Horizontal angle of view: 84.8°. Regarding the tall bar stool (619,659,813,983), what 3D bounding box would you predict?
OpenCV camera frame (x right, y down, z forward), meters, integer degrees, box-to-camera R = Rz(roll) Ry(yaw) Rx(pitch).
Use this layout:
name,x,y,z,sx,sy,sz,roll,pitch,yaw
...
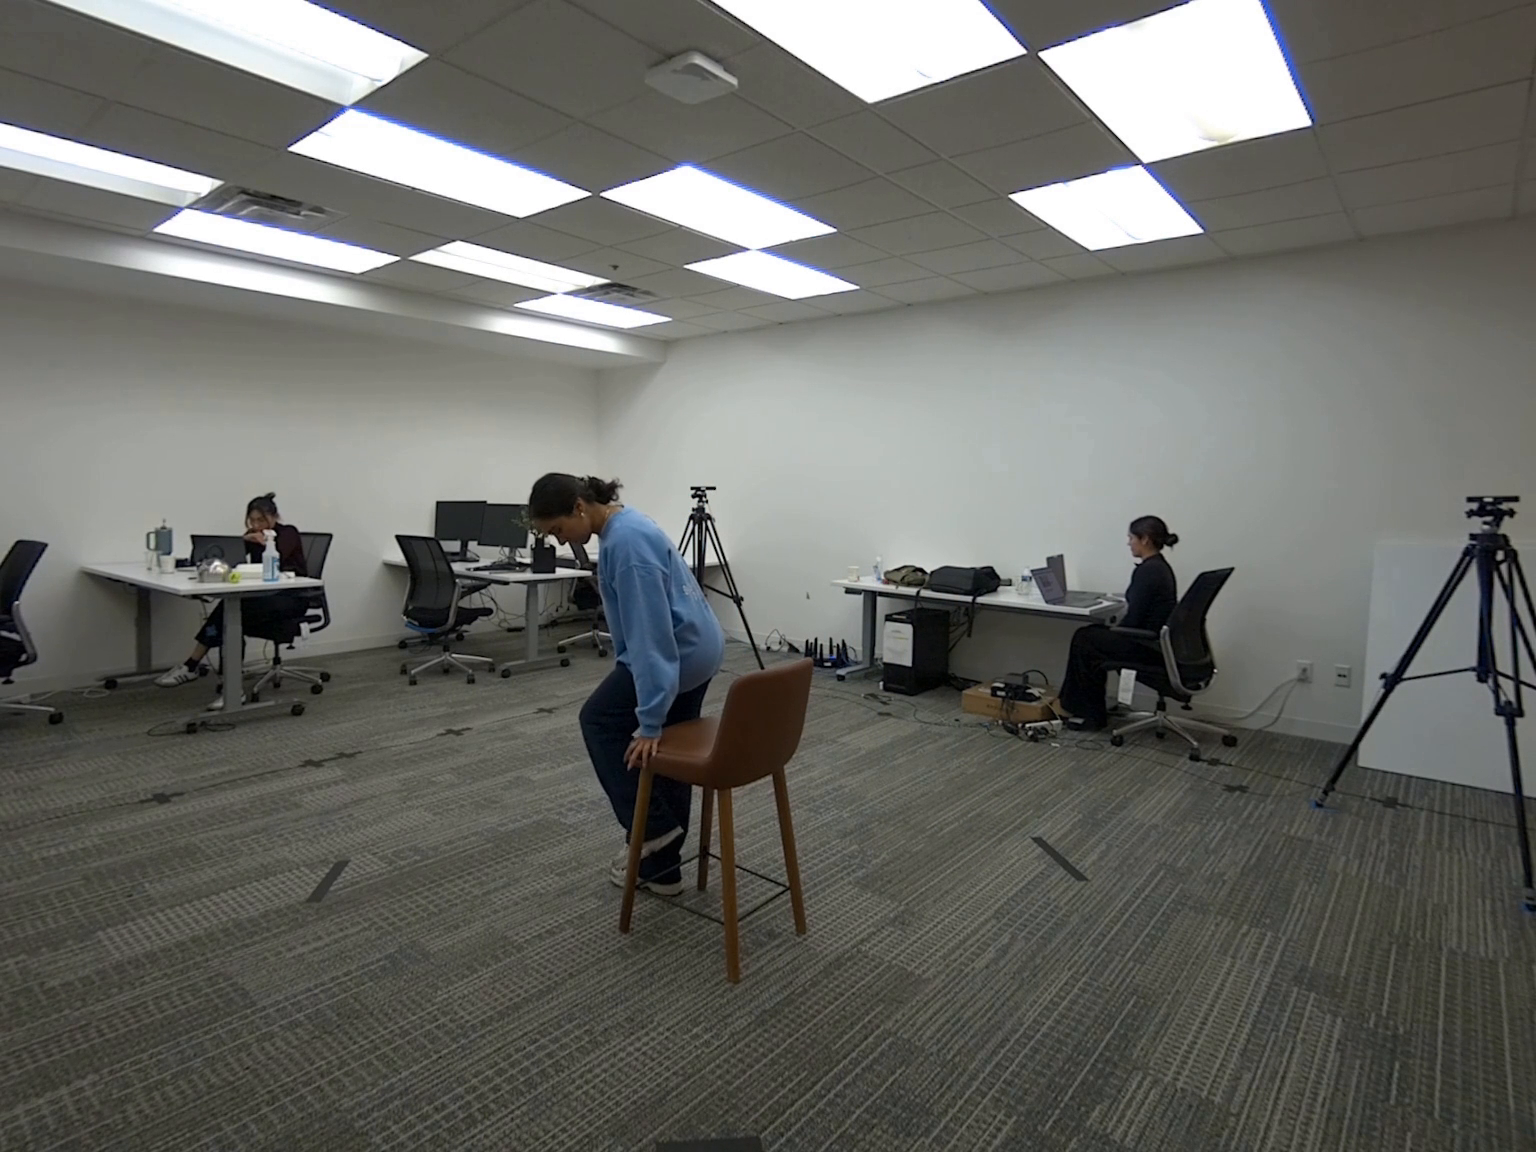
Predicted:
name,x,y,z,sx,sy,sz,roll,pitch,yaw
tall bar stool,-0.162,0.672,2.638,0.483,0.886,0.443,6,5,38
